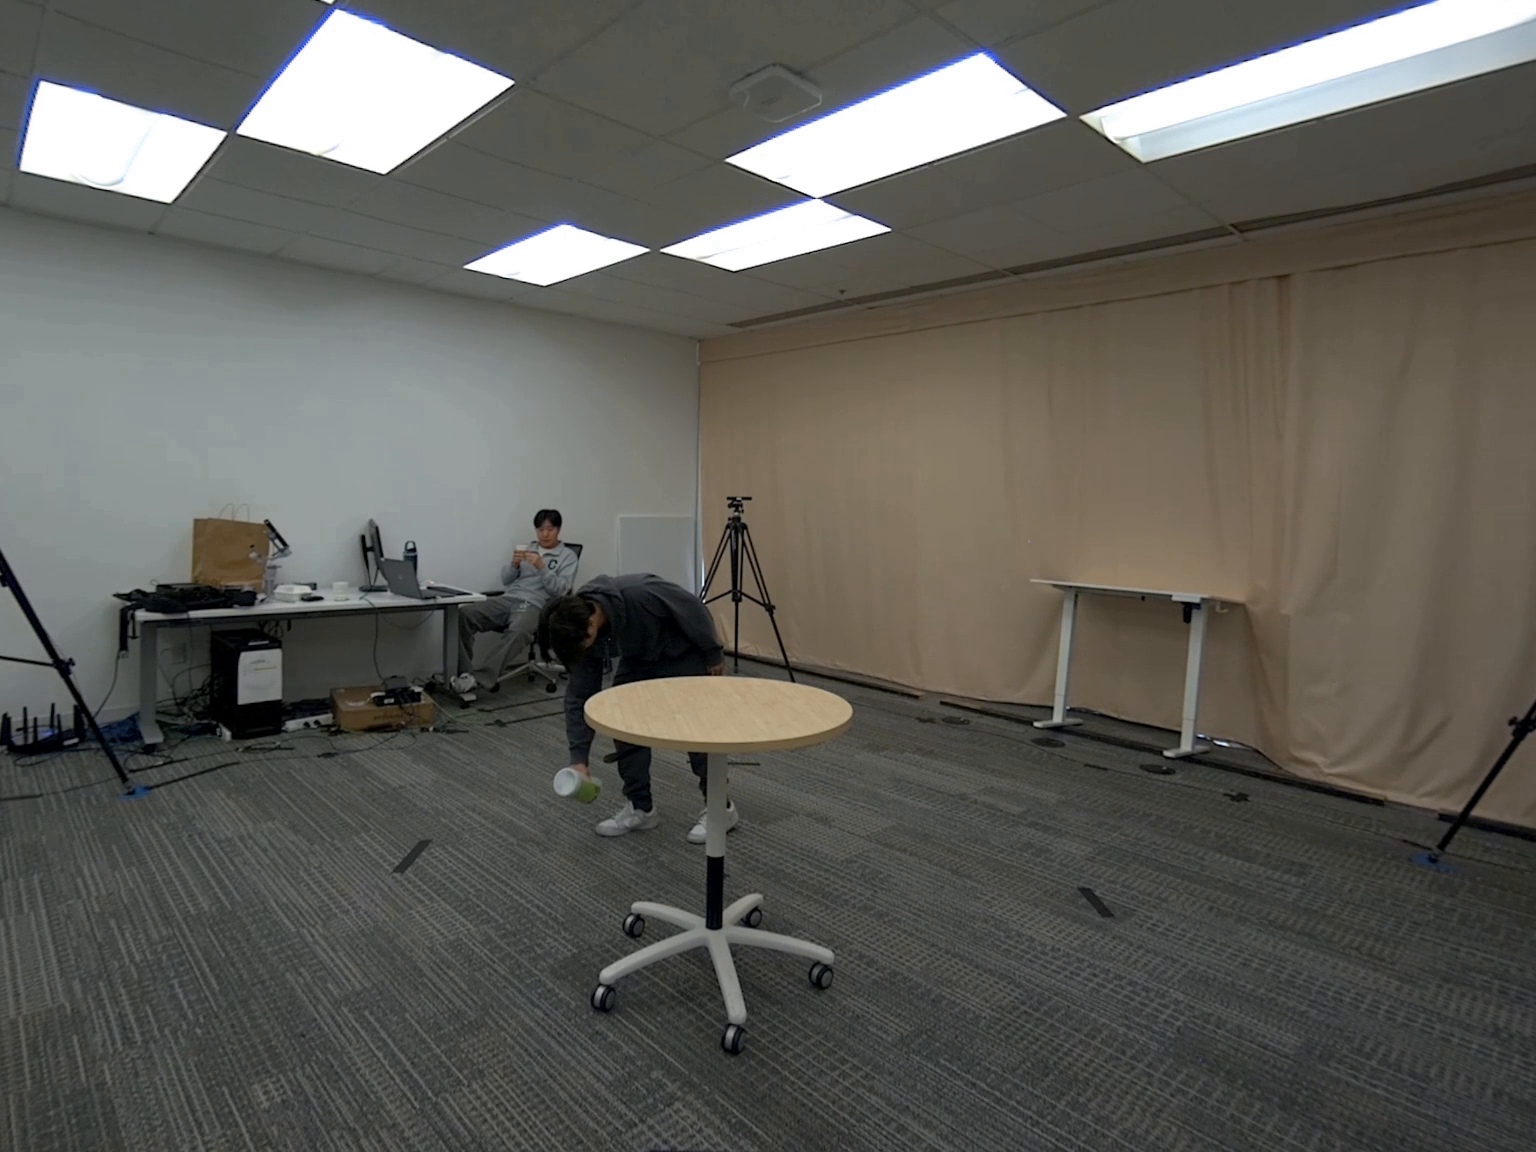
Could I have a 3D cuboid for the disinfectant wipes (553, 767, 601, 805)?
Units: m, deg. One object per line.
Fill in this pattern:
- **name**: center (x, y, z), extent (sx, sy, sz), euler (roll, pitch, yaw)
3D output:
- **disinfectant wipes**: center (-0.756, 0.835, 3.335), extent (0.120, 0.119, 0.211), euler (3, -23, 19)
